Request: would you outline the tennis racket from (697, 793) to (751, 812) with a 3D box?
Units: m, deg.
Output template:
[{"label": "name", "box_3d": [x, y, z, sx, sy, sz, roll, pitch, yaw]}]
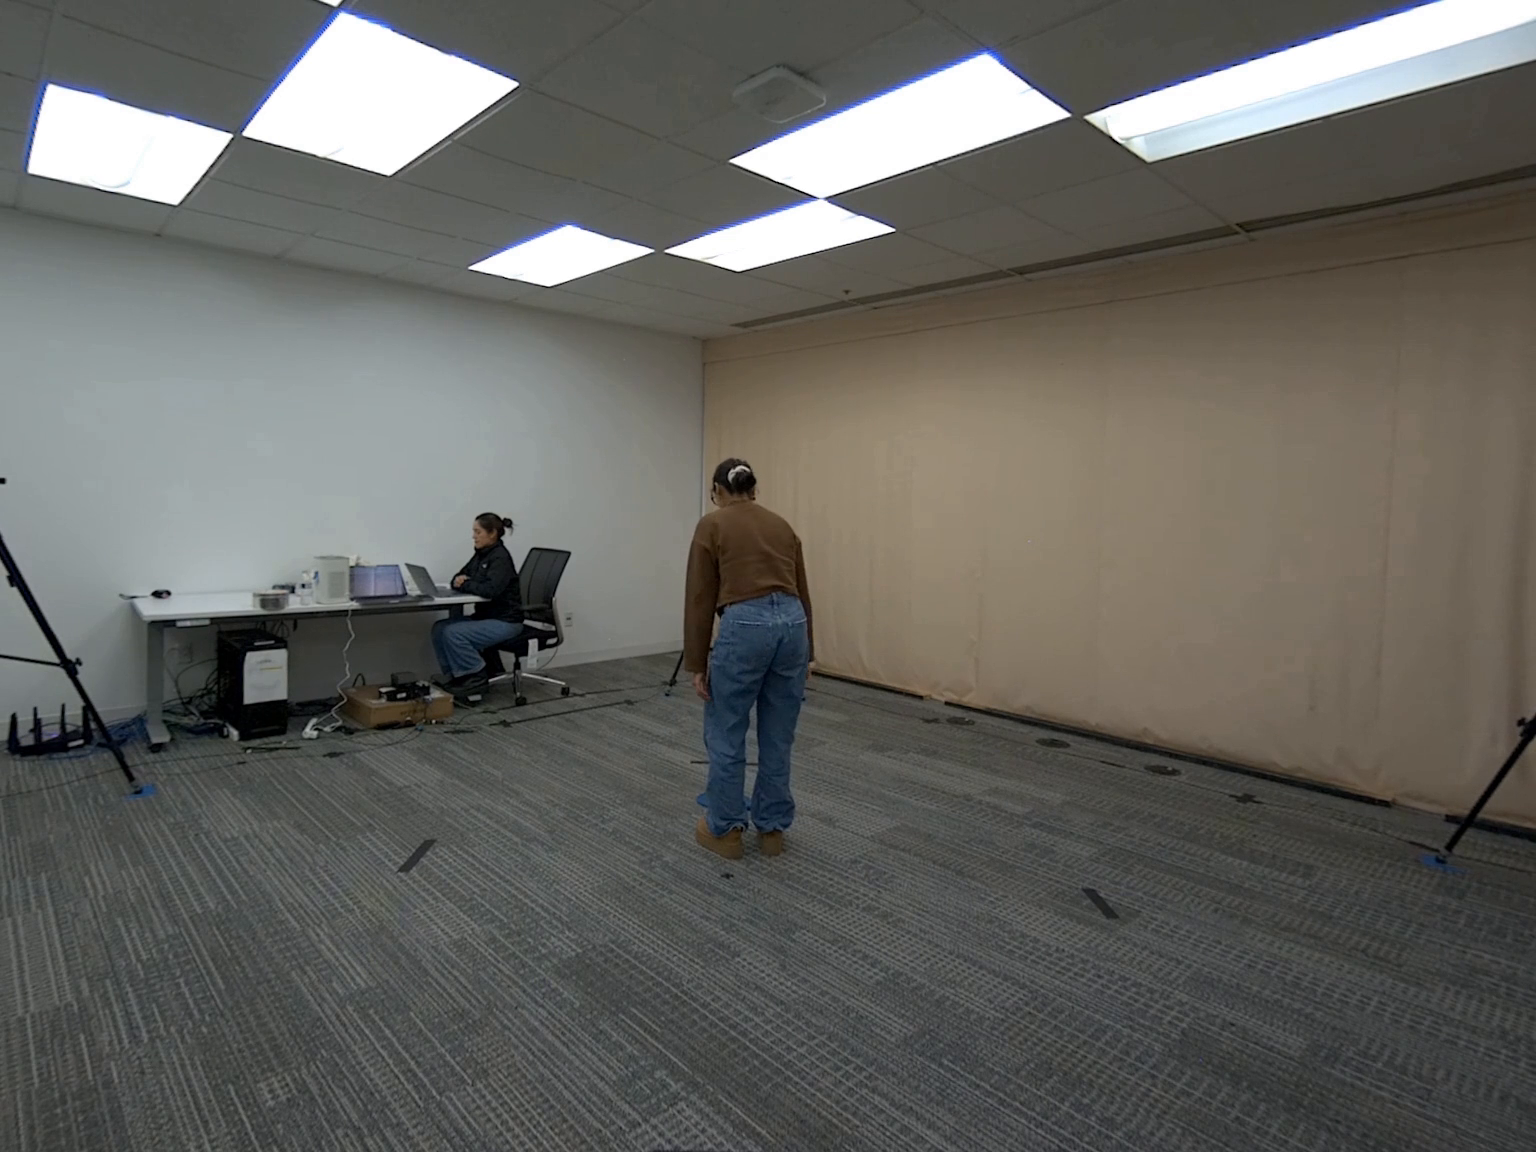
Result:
[{"label": "tennis racket", "box_3d": [-0.131, 1.035, 3.825, 0.442, 0.032, 0.210, 3, 4, 27]}]
